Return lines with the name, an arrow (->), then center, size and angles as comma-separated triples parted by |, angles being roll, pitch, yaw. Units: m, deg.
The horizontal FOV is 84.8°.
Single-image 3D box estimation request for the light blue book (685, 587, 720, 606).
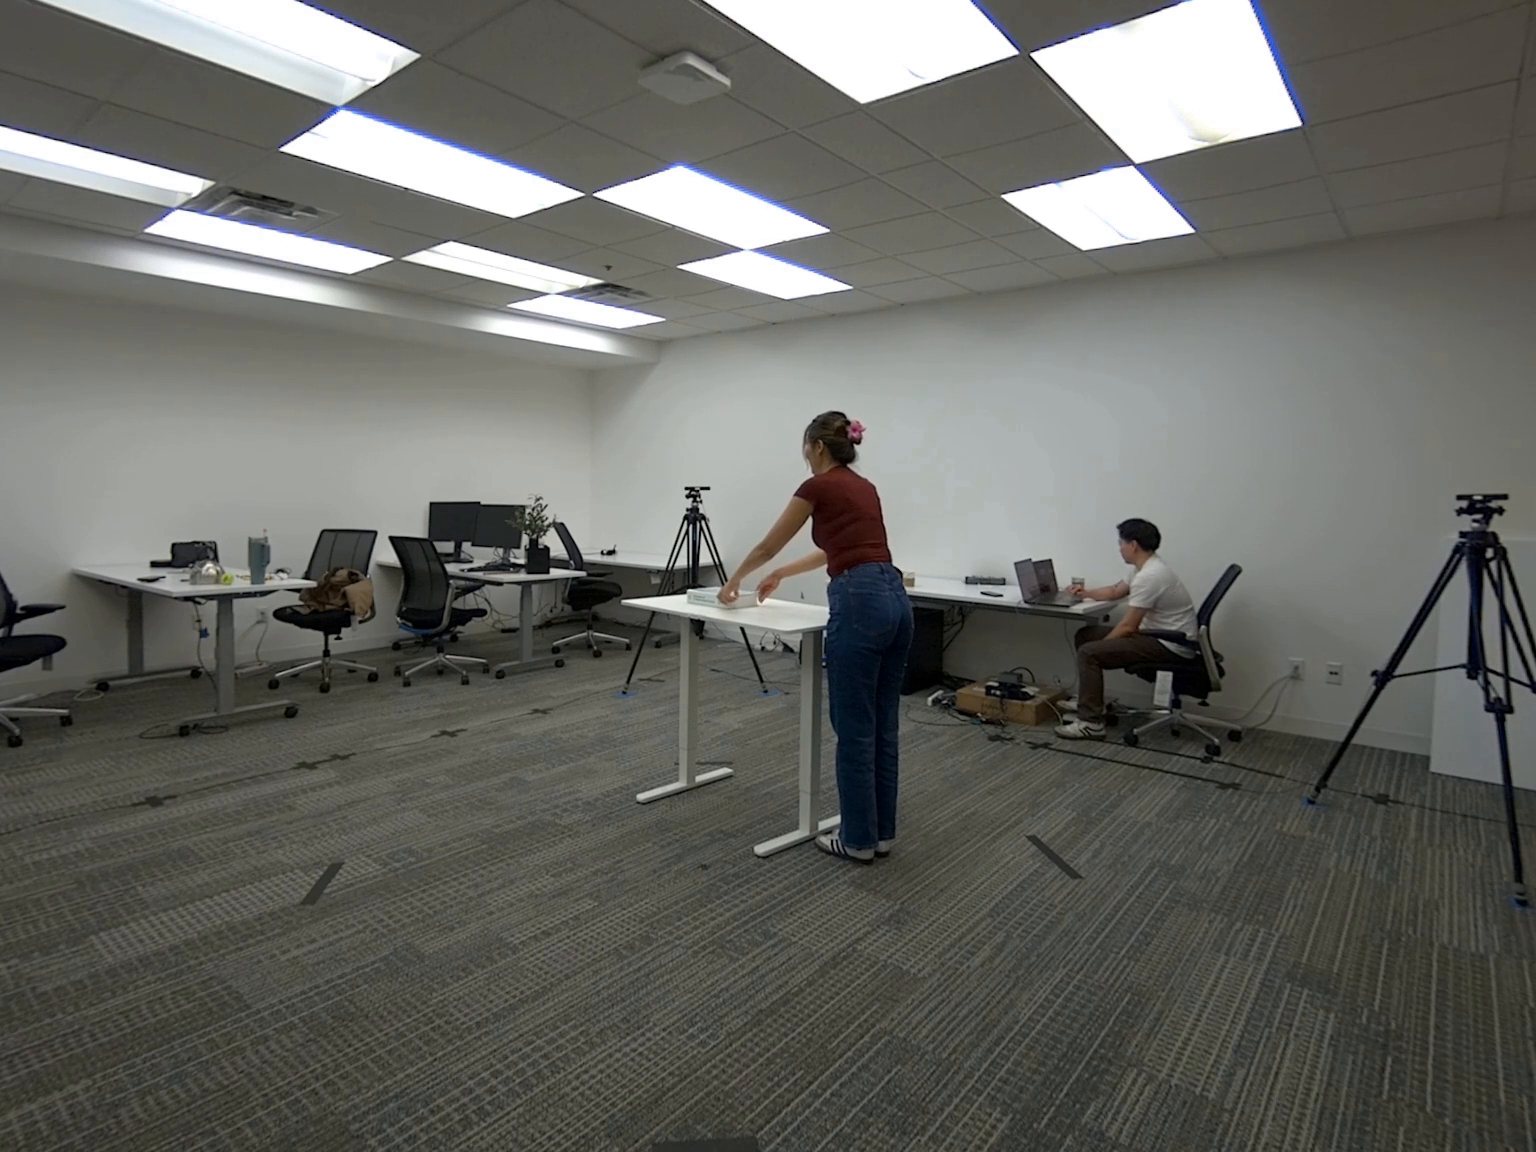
light blue book -> -0.211, 0.093, 3.740 | 0.270, 0.059, 0.186 | 7, 8, 43
